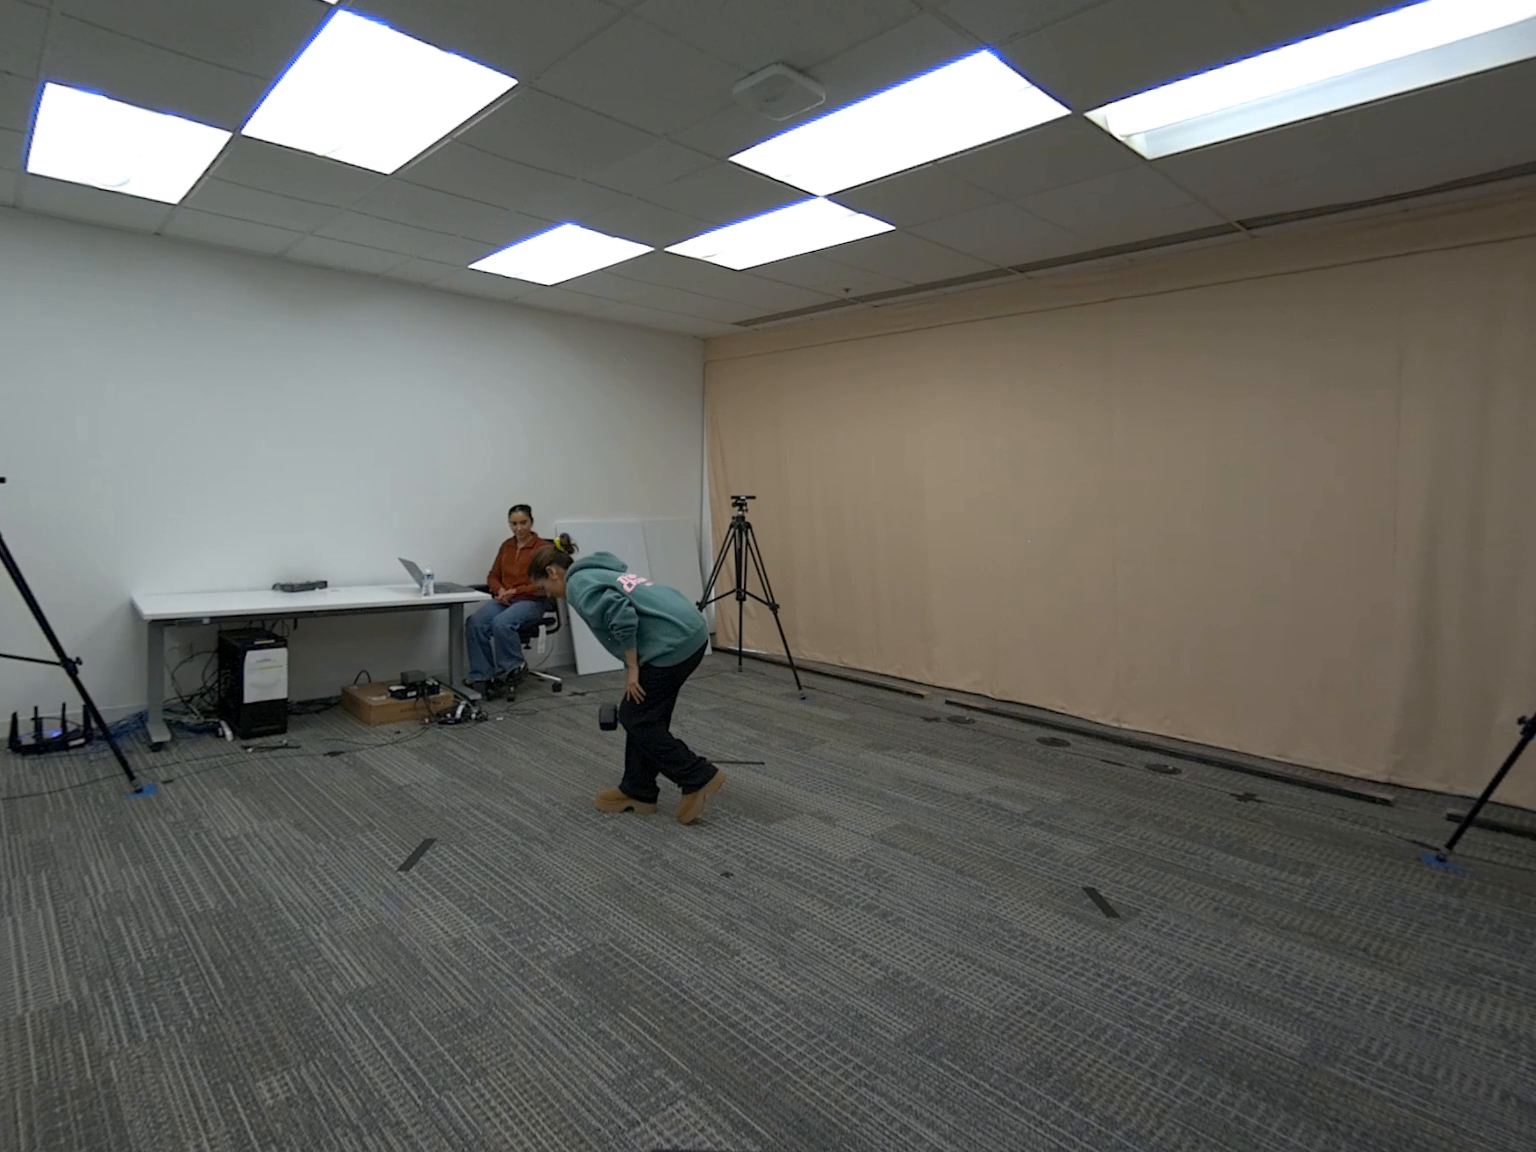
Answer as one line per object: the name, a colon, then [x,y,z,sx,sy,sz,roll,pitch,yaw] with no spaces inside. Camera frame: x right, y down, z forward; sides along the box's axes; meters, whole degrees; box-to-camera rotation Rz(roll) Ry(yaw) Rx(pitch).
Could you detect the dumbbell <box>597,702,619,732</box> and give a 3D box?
dumbbell: [-0.633,0.639,3.848,0.293,0.125,0.107,-1,-20,-2]
